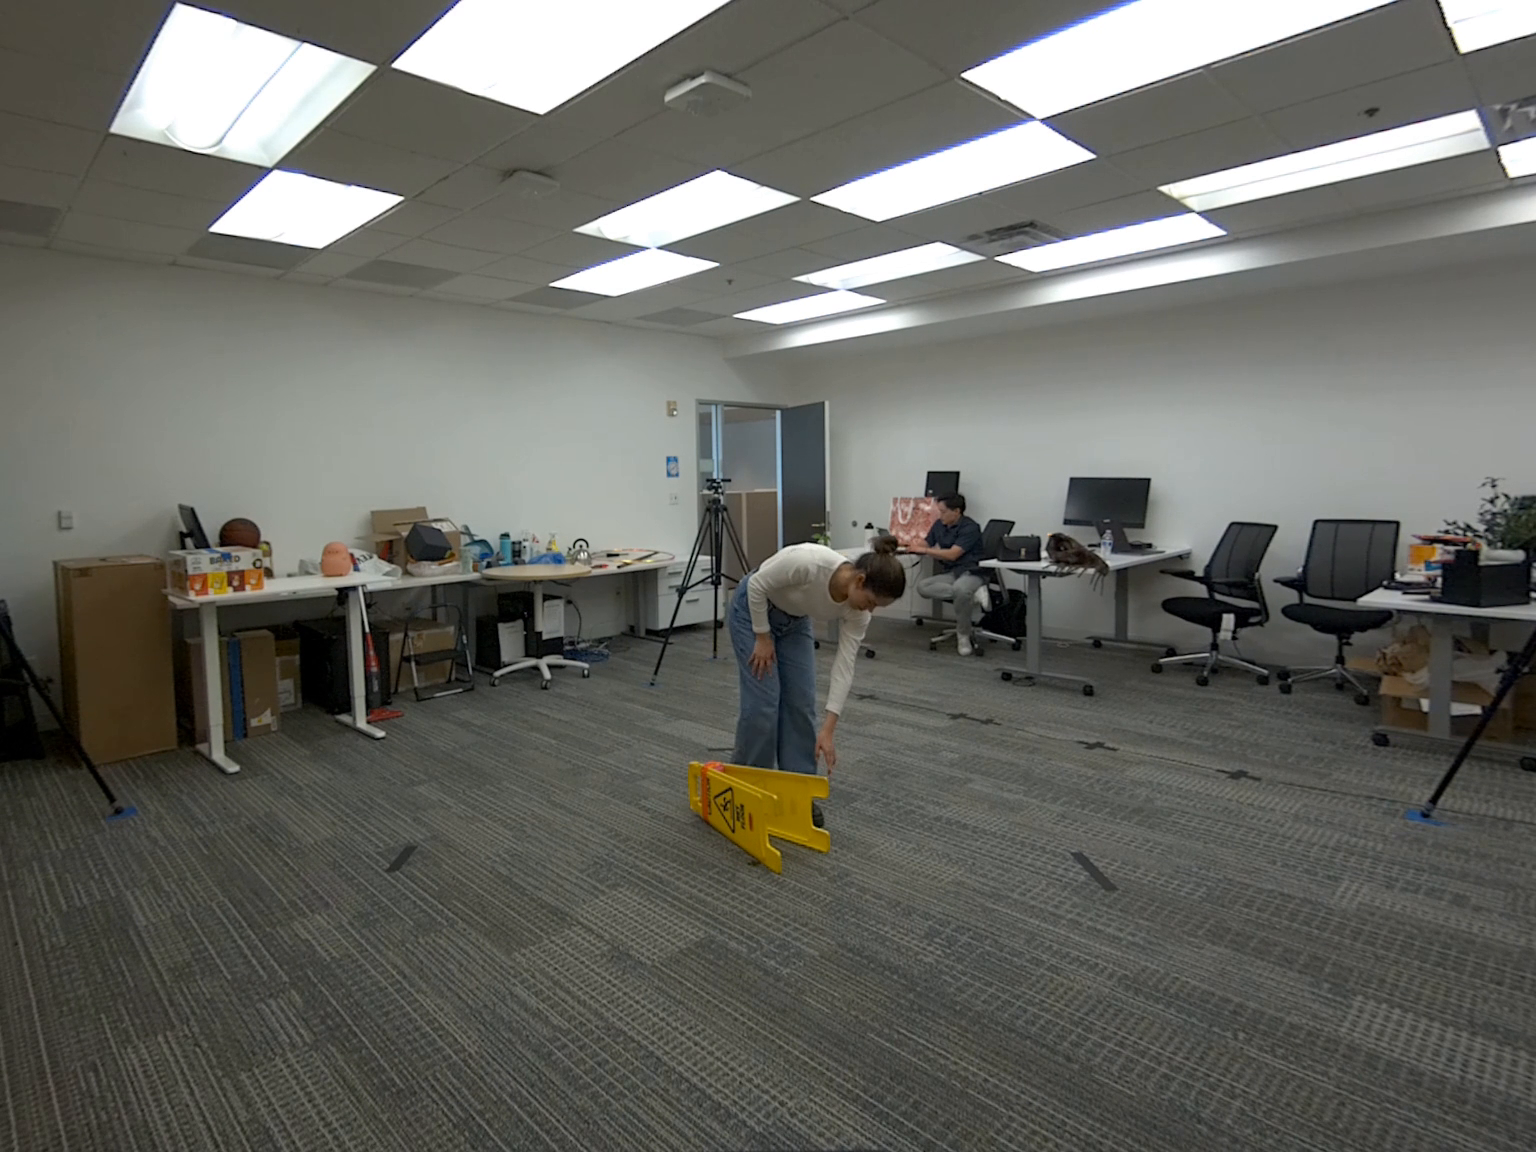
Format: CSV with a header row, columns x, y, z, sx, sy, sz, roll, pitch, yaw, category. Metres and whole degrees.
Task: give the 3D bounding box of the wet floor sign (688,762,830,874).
x,y,z,sx,sy,sz,roll,pitch,yaw,category
-0.099,0.891,3.335,0.282,0.281,0.665,-5,5,-43,wet floor sign
